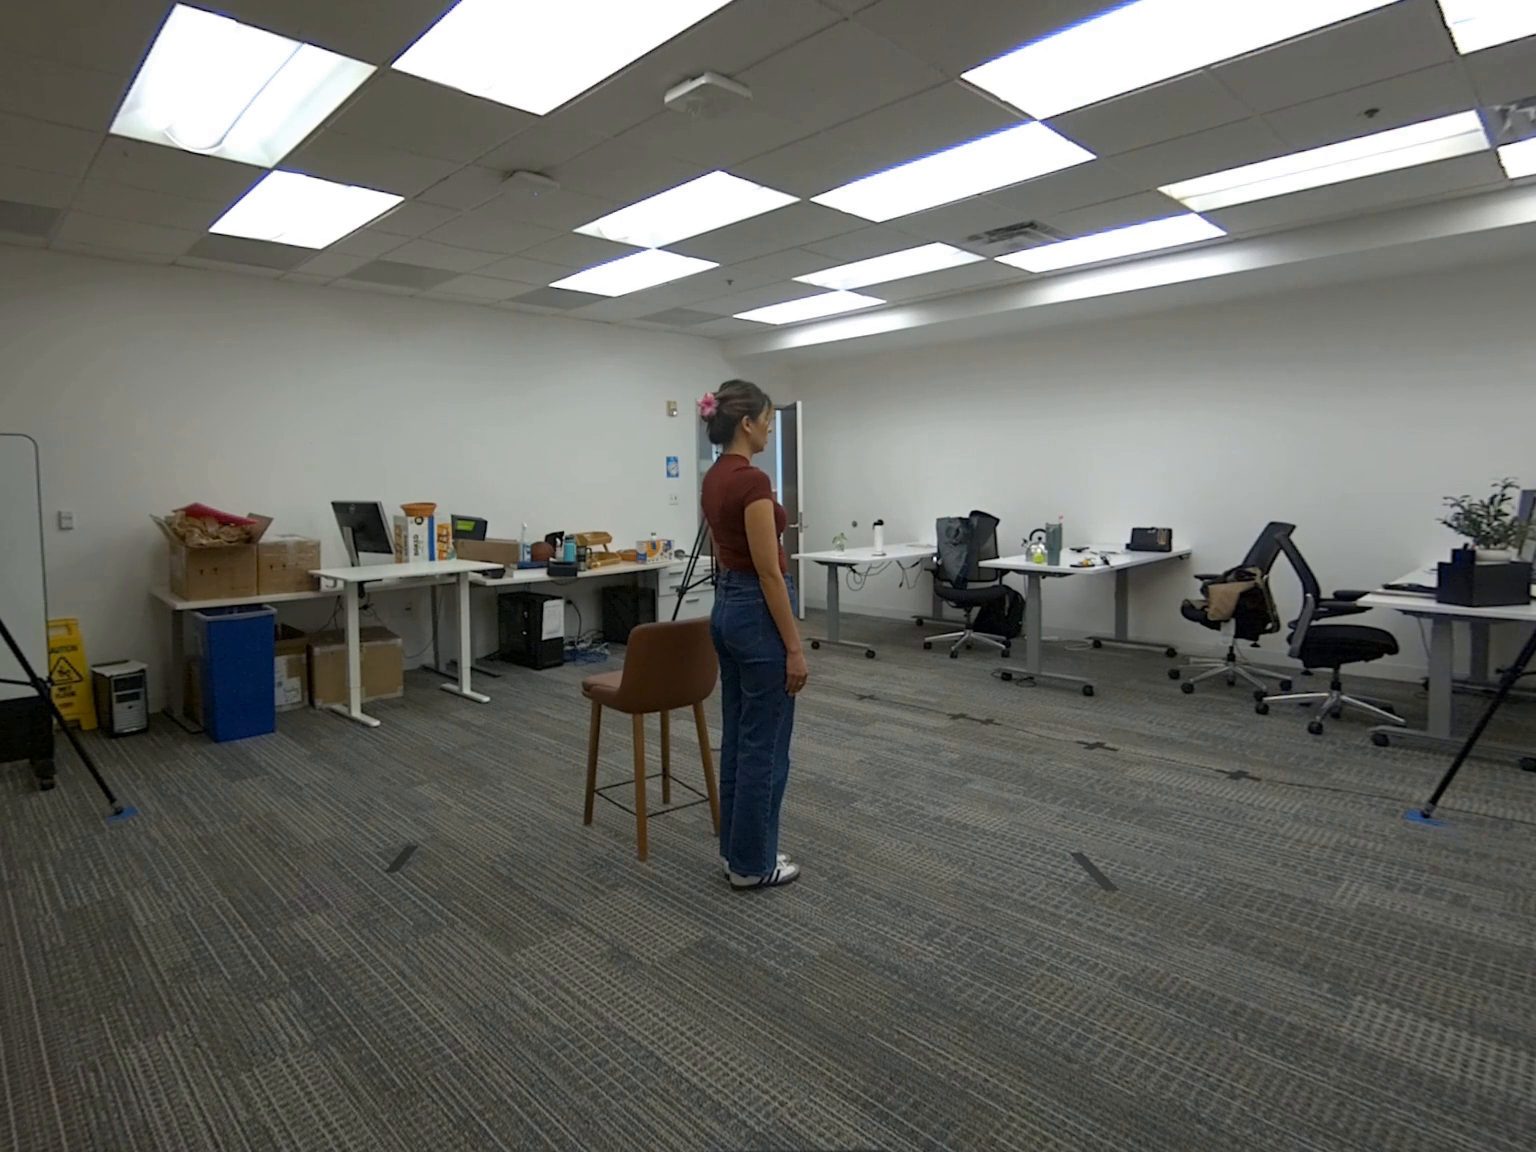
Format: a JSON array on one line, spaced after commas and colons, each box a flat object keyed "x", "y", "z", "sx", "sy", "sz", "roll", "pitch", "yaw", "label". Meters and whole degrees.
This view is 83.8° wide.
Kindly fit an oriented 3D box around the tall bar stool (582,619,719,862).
[{"x": -0.461, "y": 0.582, "z": 3.400, "sx": 0.445, "sy": 0.885, "sz": 0.482, "roll": -4, "pitch": 7, "yaw": -36, "label": "tall bar stool"}]
